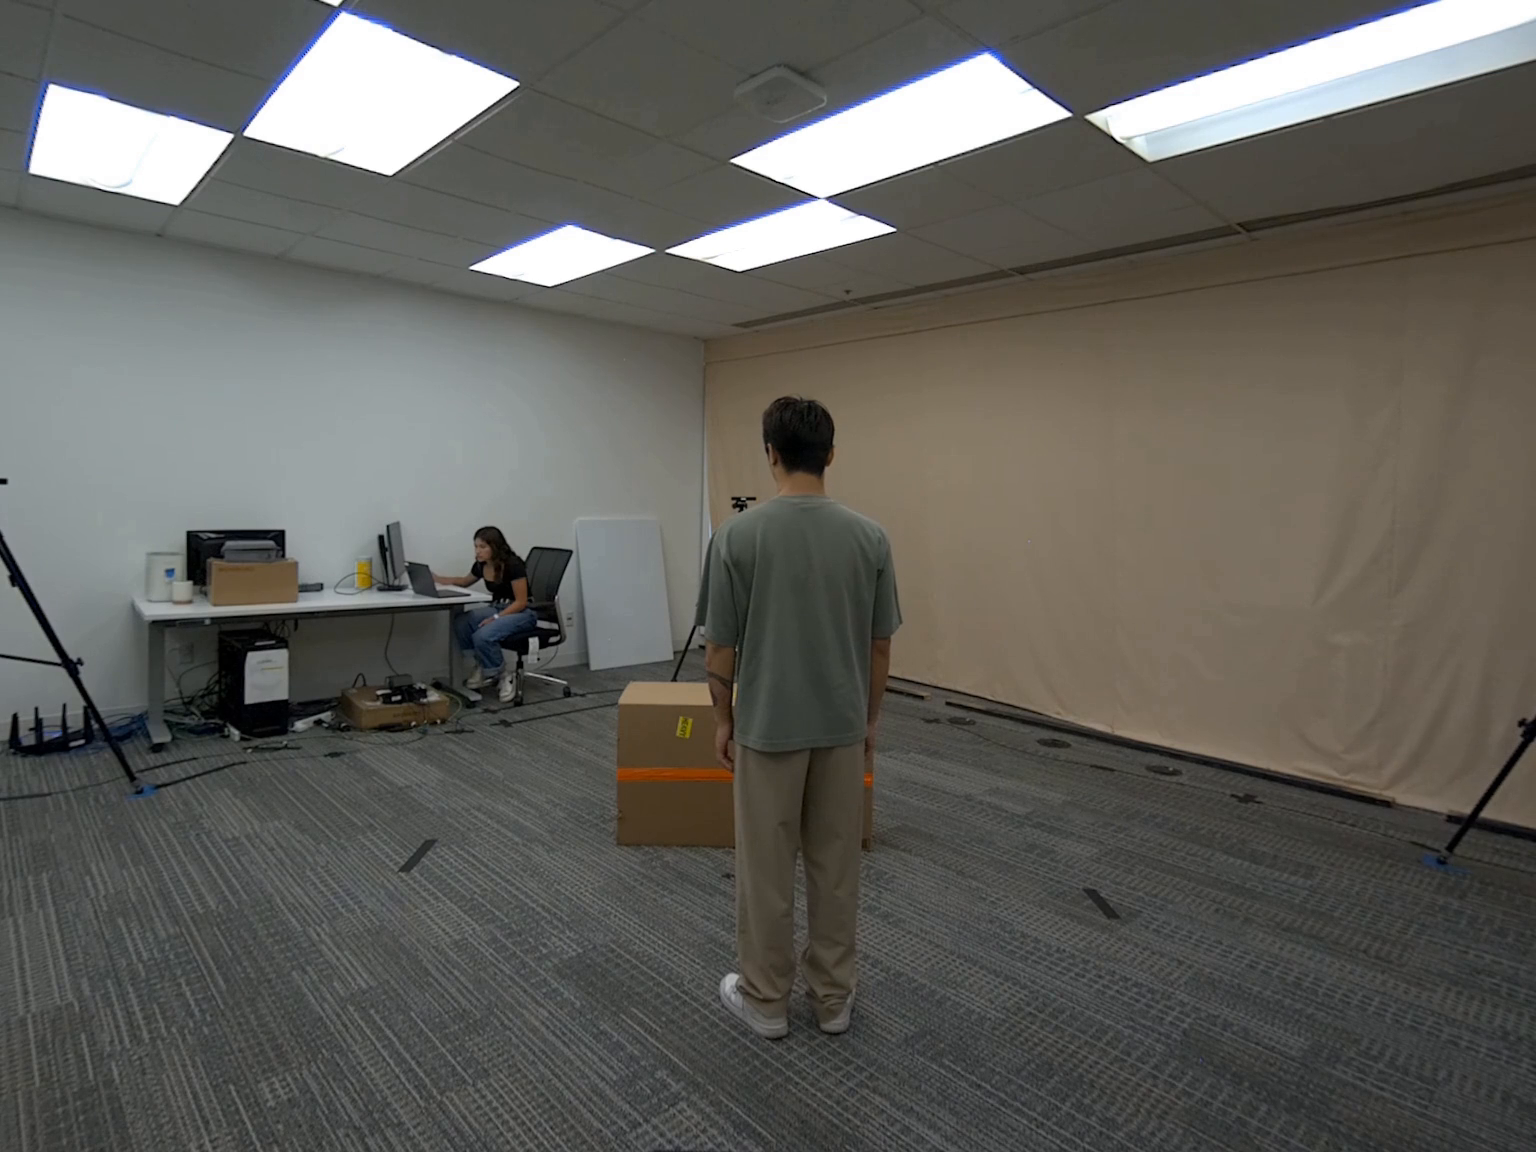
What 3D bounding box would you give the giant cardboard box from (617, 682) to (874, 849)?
[{"bbox_3d":[-0.107,0.779,3.547,1.025,0.576,0.427,1,3,-1],"label":"giant cardboard box"}]
